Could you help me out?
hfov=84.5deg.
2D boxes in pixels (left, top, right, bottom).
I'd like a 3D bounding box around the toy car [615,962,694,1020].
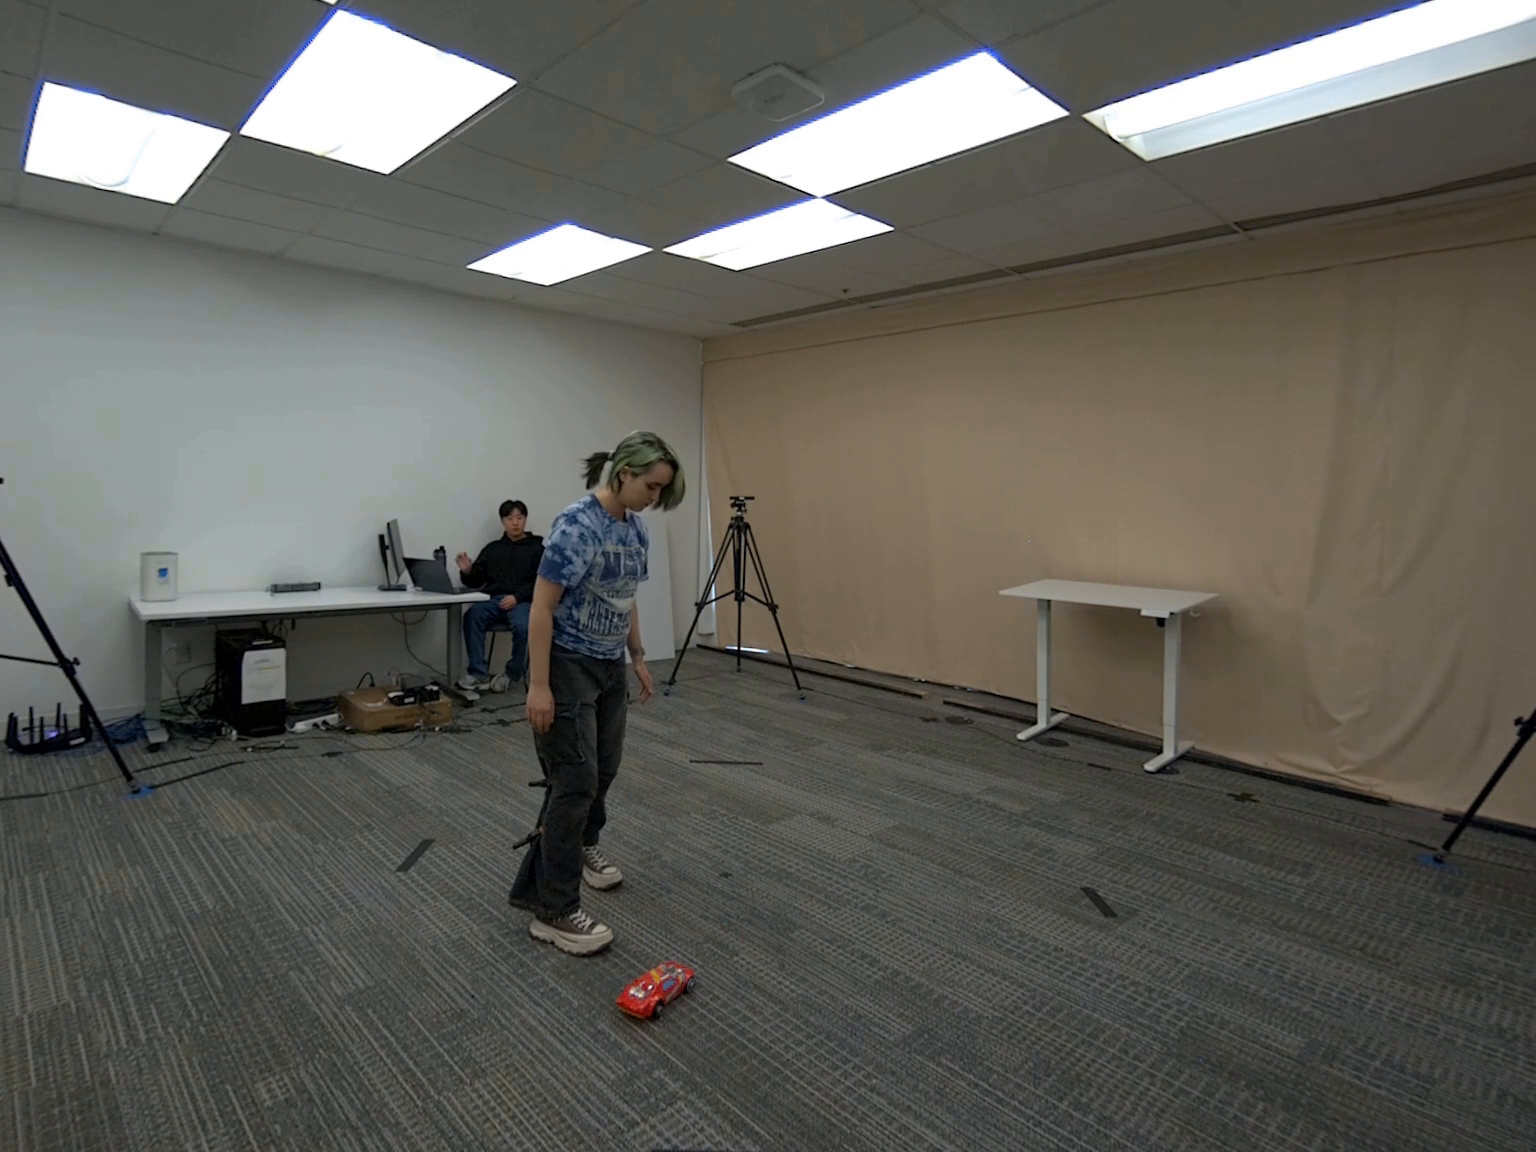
[{"bbox_3d":[-0.317,1.145,2.300,0.133,0.083,0.248,4,-4,32],"label":"toy car"}]
